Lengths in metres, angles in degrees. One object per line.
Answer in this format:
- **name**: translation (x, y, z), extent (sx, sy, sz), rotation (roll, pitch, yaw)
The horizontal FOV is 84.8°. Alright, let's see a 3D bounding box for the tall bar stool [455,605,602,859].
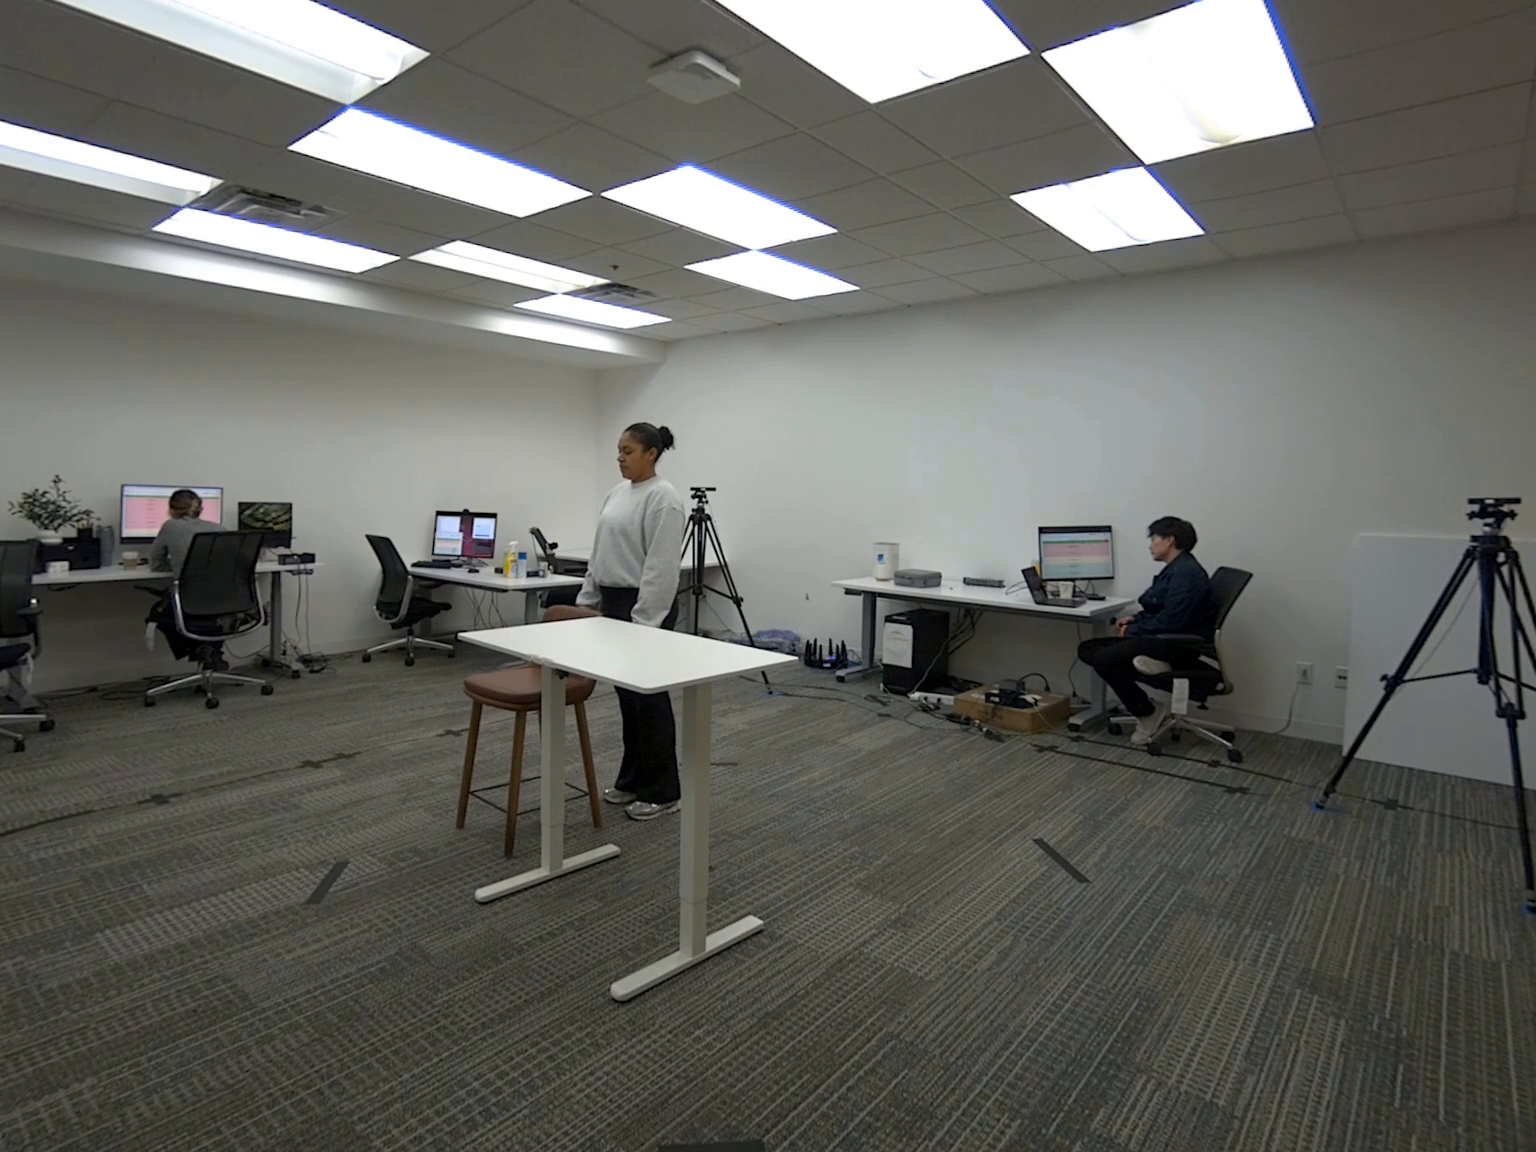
- **tall bar stool**: translation (-0.968, 0.584, 3.443), extent (0.472, 0.889, 0.452), rotation (3, 2, 43)
